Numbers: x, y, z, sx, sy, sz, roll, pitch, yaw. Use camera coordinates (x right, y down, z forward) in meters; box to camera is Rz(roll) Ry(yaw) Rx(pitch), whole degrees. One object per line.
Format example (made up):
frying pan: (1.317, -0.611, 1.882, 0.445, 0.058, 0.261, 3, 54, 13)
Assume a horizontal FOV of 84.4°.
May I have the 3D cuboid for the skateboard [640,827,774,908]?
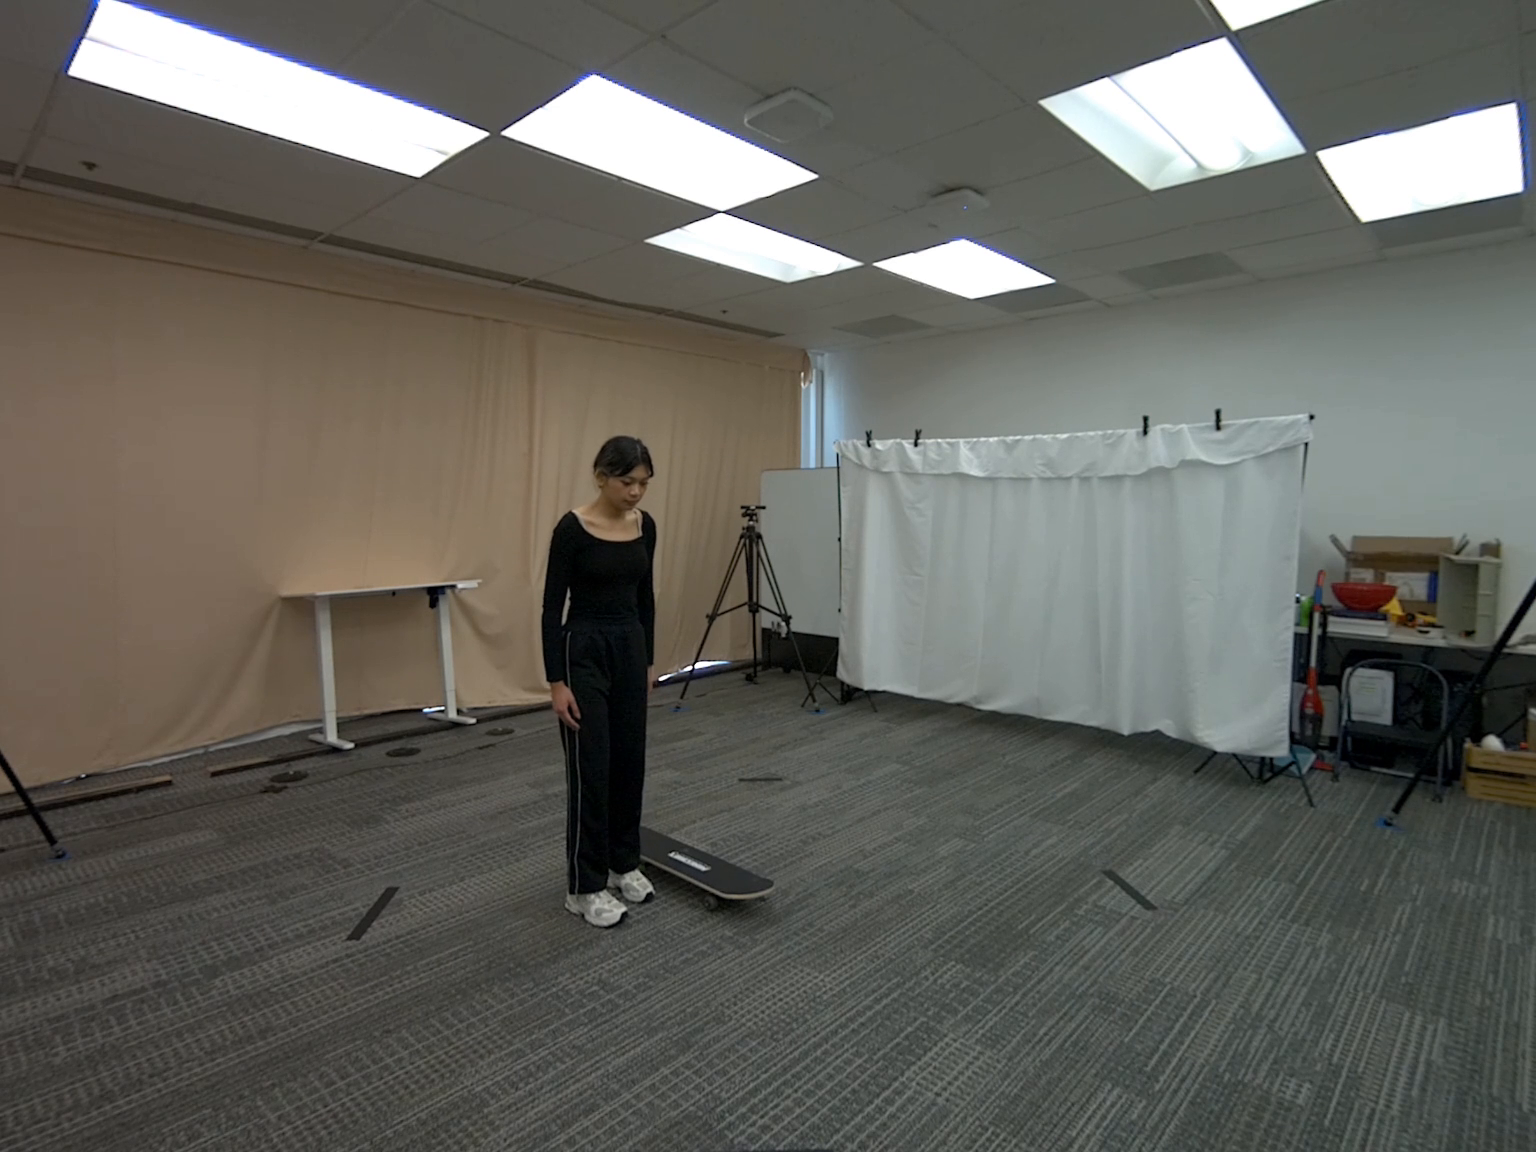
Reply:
skateboard: (-0.293, 1.081, 3.097, 0.812, 0.110, 0.187, 4, 5, 44)
